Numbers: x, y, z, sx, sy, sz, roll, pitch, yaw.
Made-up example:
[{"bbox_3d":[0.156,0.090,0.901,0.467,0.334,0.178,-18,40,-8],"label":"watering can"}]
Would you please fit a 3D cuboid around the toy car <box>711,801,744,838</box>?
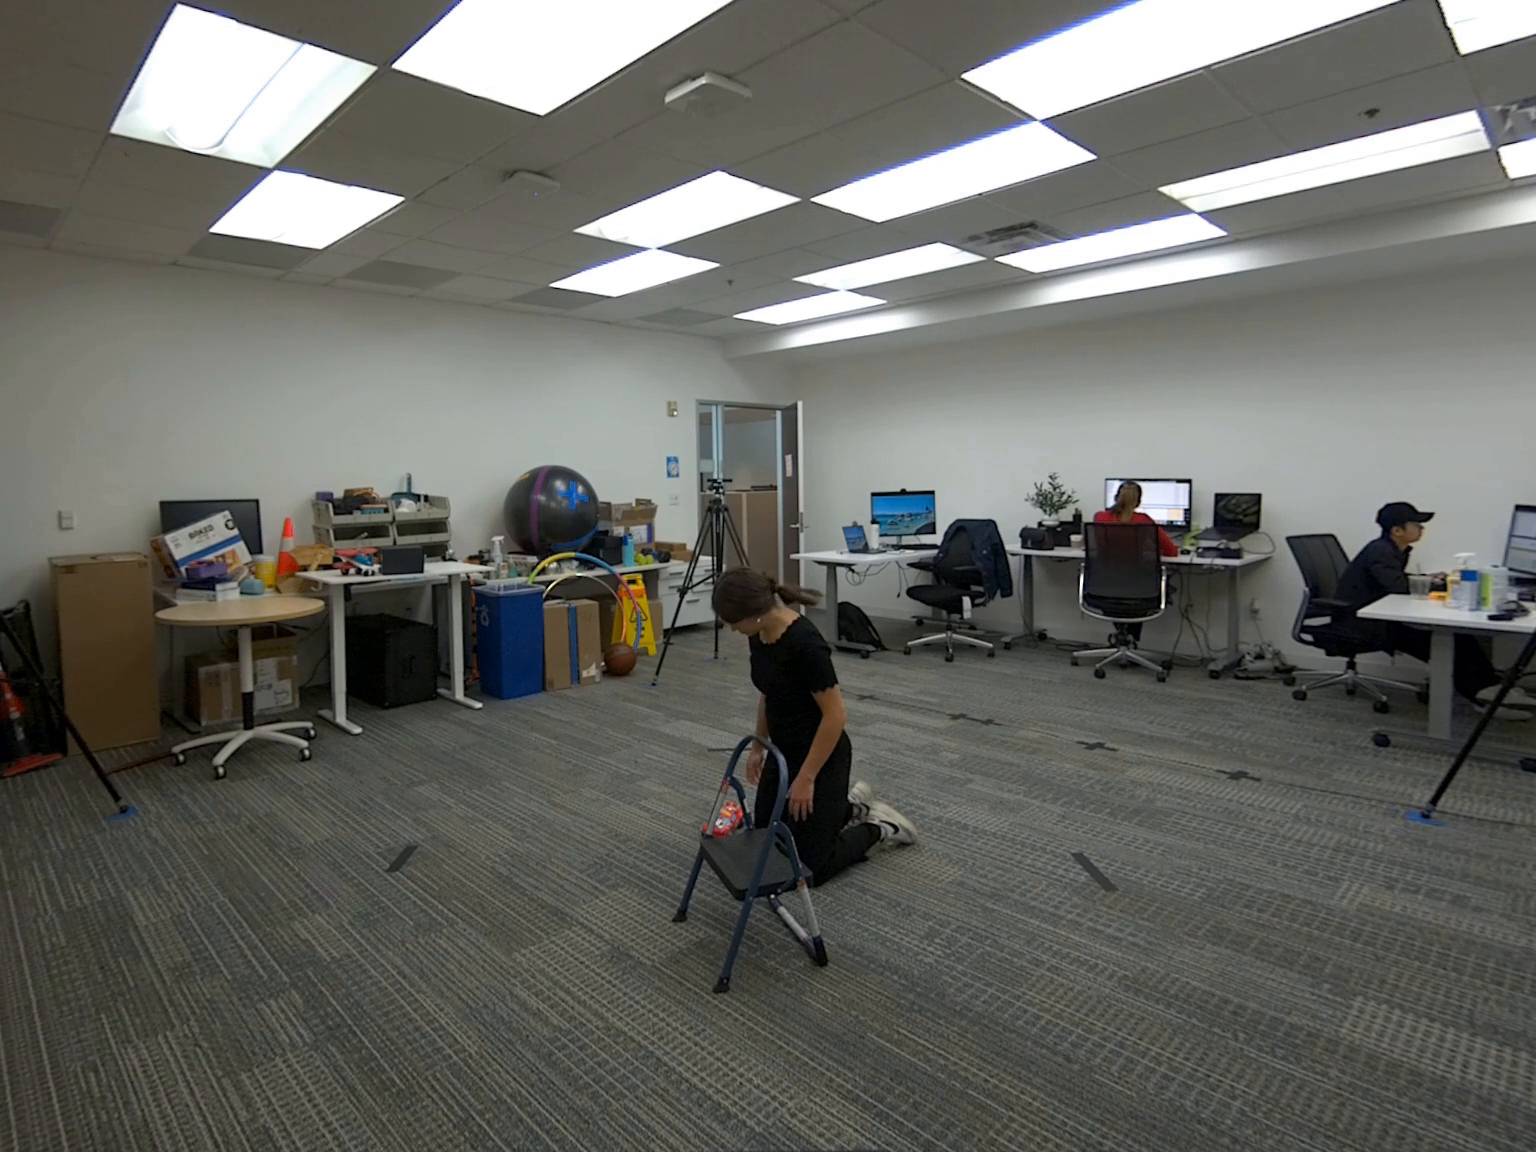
[{"bbox_3d":[-0.159,0.979,3.413,0.133,0.082,0.253,-2,16,19],"label":"toy car"}]
